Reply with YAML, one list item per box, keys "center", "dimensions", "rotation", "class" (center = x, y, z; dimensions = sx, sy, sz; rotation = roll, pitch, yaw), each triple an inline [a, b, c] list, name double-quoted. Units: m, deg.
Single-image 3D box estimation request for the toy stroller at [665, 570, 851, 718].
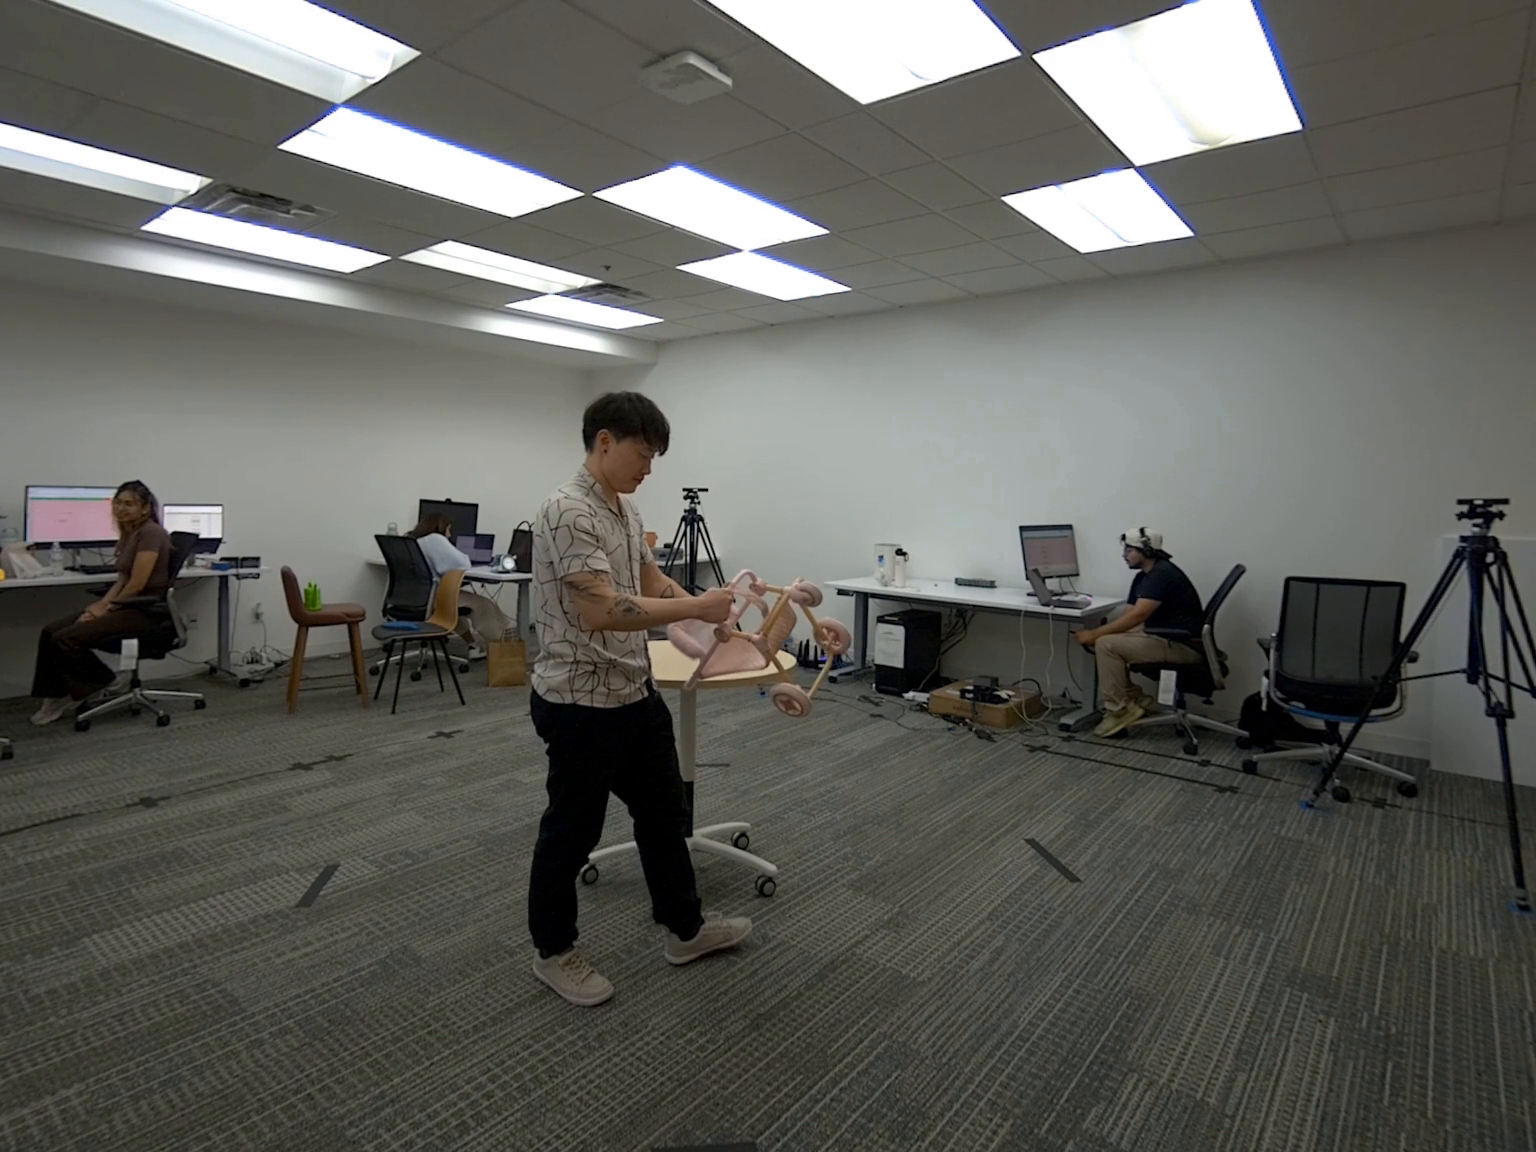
- center: [-0.051, 0.151, 2.227]
  dimensions: [0.551, 0.330, 0.282]
  rotation: [0, 40, 38]
  class: "toy stroller"
